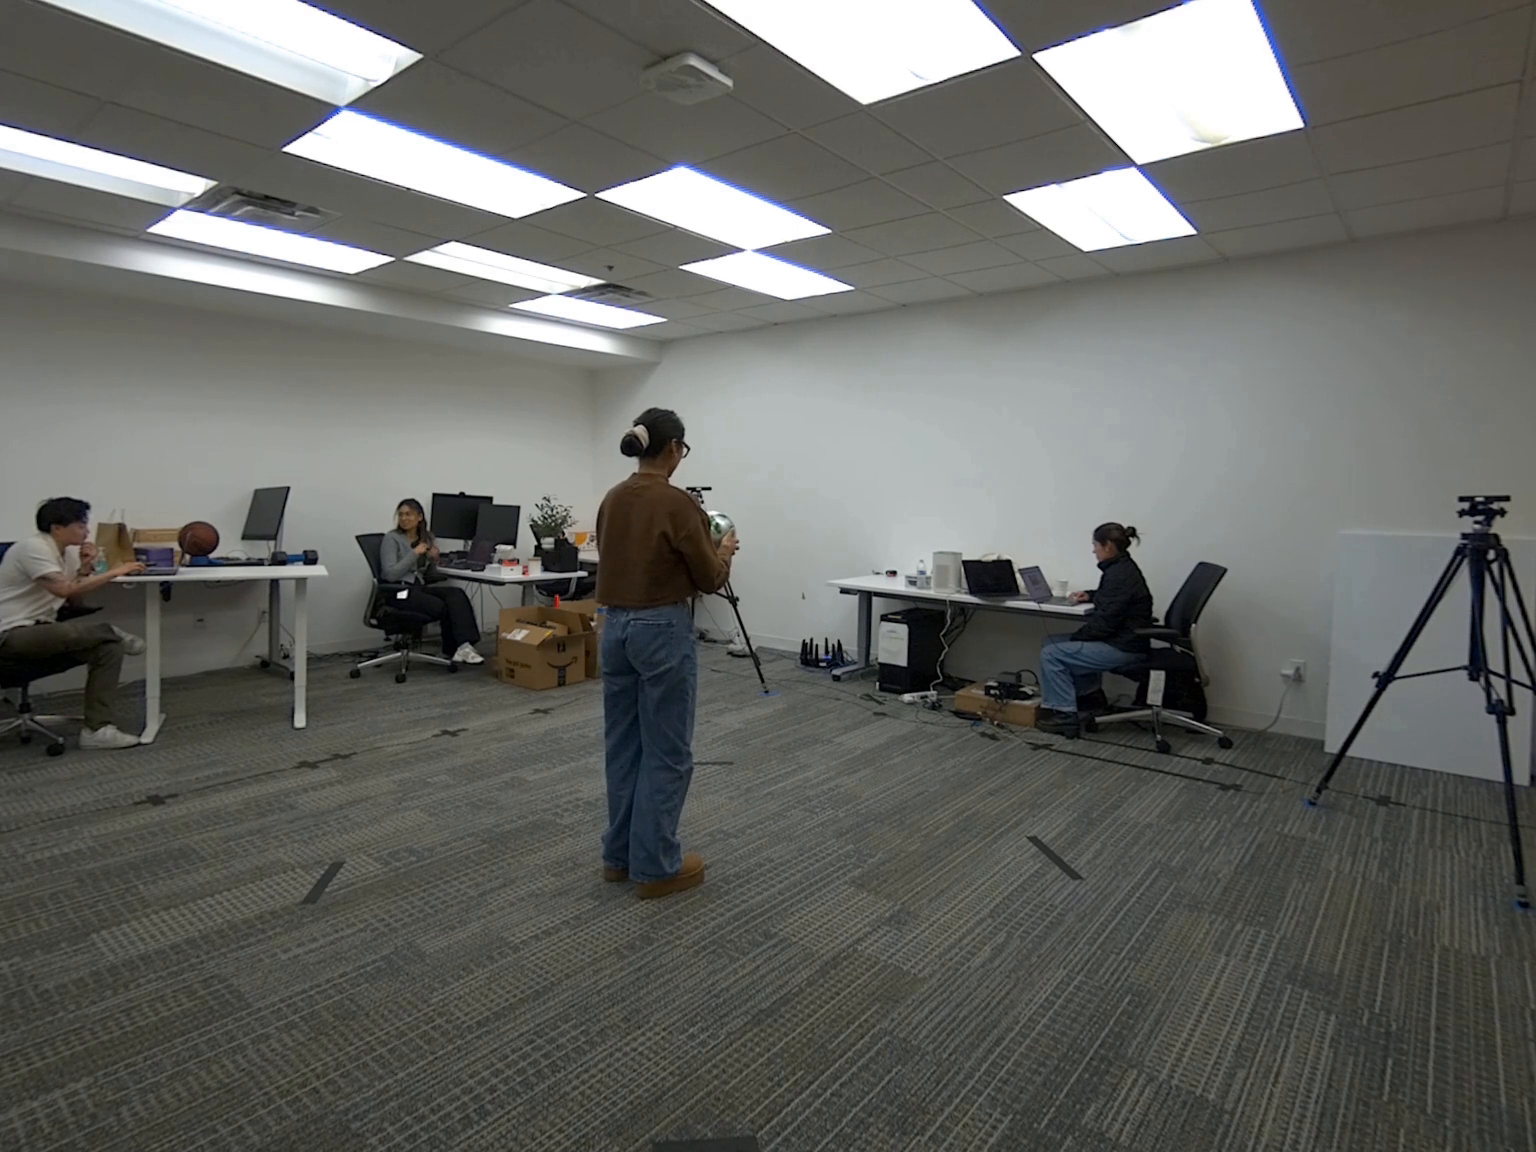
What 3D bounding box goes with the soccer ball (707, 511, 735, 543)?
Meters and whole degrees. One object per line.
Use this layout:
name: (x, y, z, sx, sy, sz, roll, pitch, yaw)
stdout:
soccer ball: (-0.229, -0.159, 3.247, 0.187, 0.187, 0.188, 1, 4, -2)
